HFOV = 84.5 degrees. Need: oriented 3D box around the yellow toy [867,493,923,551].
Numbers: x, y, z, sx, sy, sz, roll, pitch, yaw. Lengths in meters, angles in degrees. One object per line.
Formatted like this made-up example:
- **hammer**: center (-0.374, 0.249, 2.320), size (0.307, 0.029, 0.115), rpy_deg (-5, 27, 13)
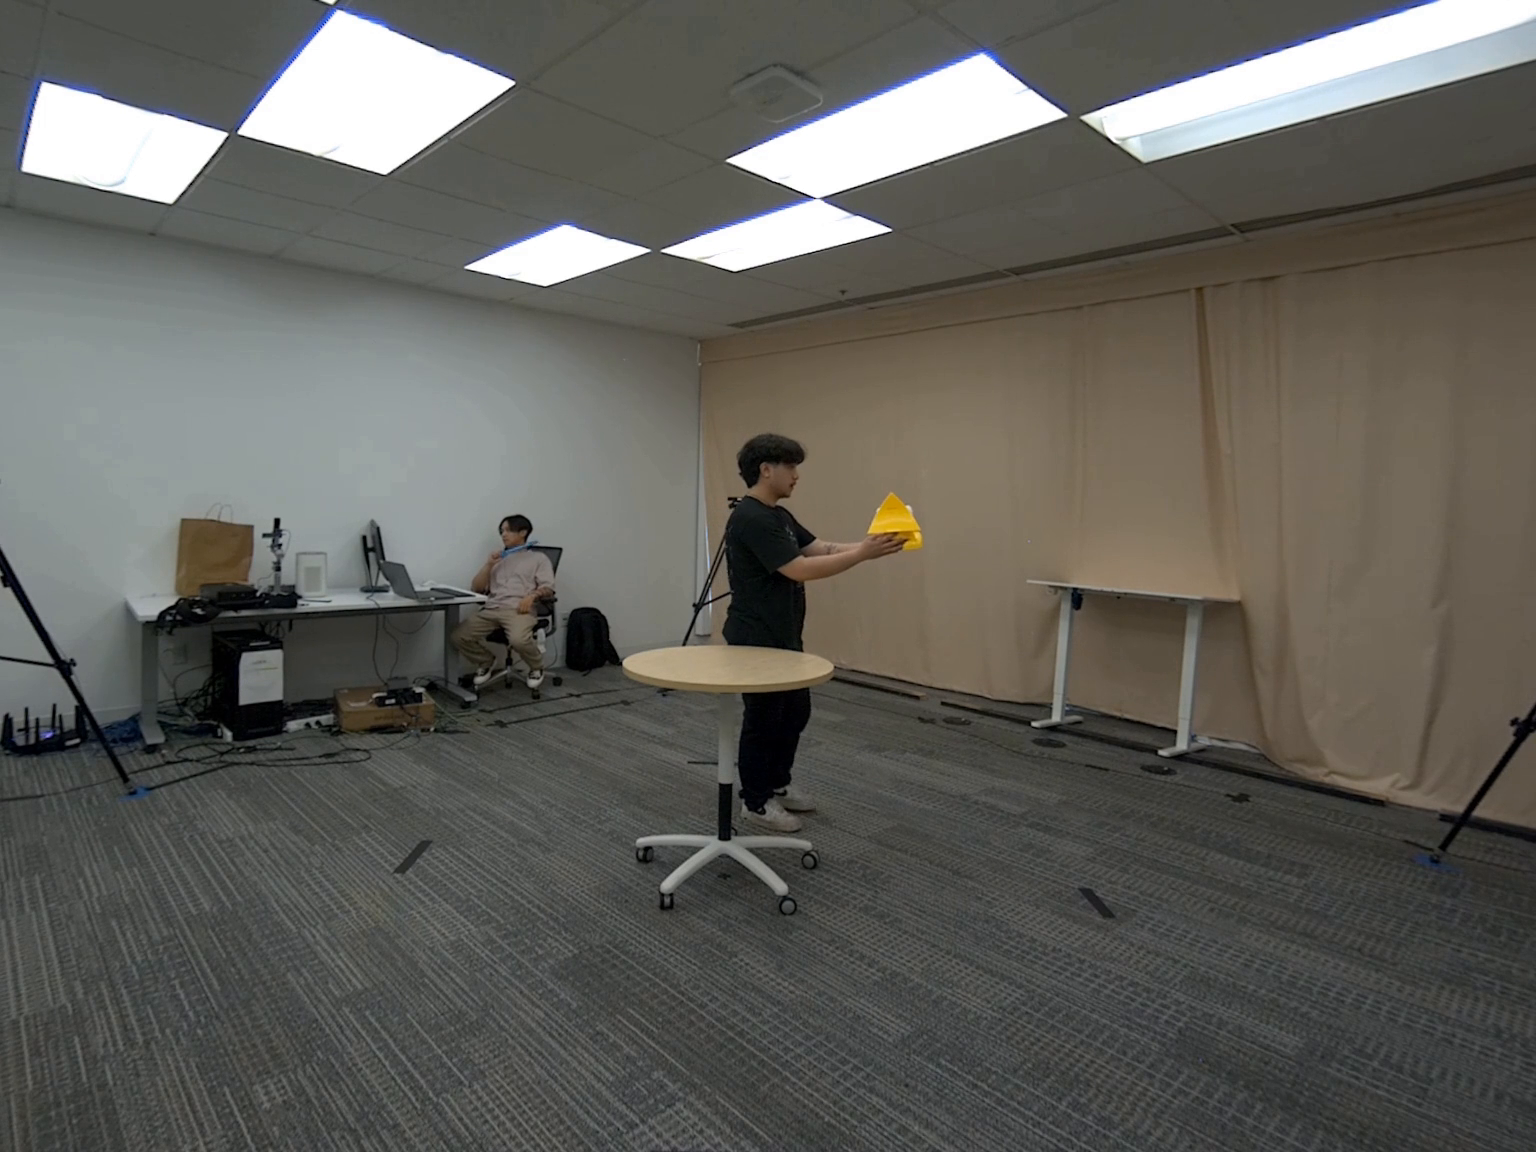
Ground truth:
- **yellow toy**: center (0.501, -0.225, 3.364), size (0.207, 0.229, 0.192), rpy_deg (-3, 10, 16)
